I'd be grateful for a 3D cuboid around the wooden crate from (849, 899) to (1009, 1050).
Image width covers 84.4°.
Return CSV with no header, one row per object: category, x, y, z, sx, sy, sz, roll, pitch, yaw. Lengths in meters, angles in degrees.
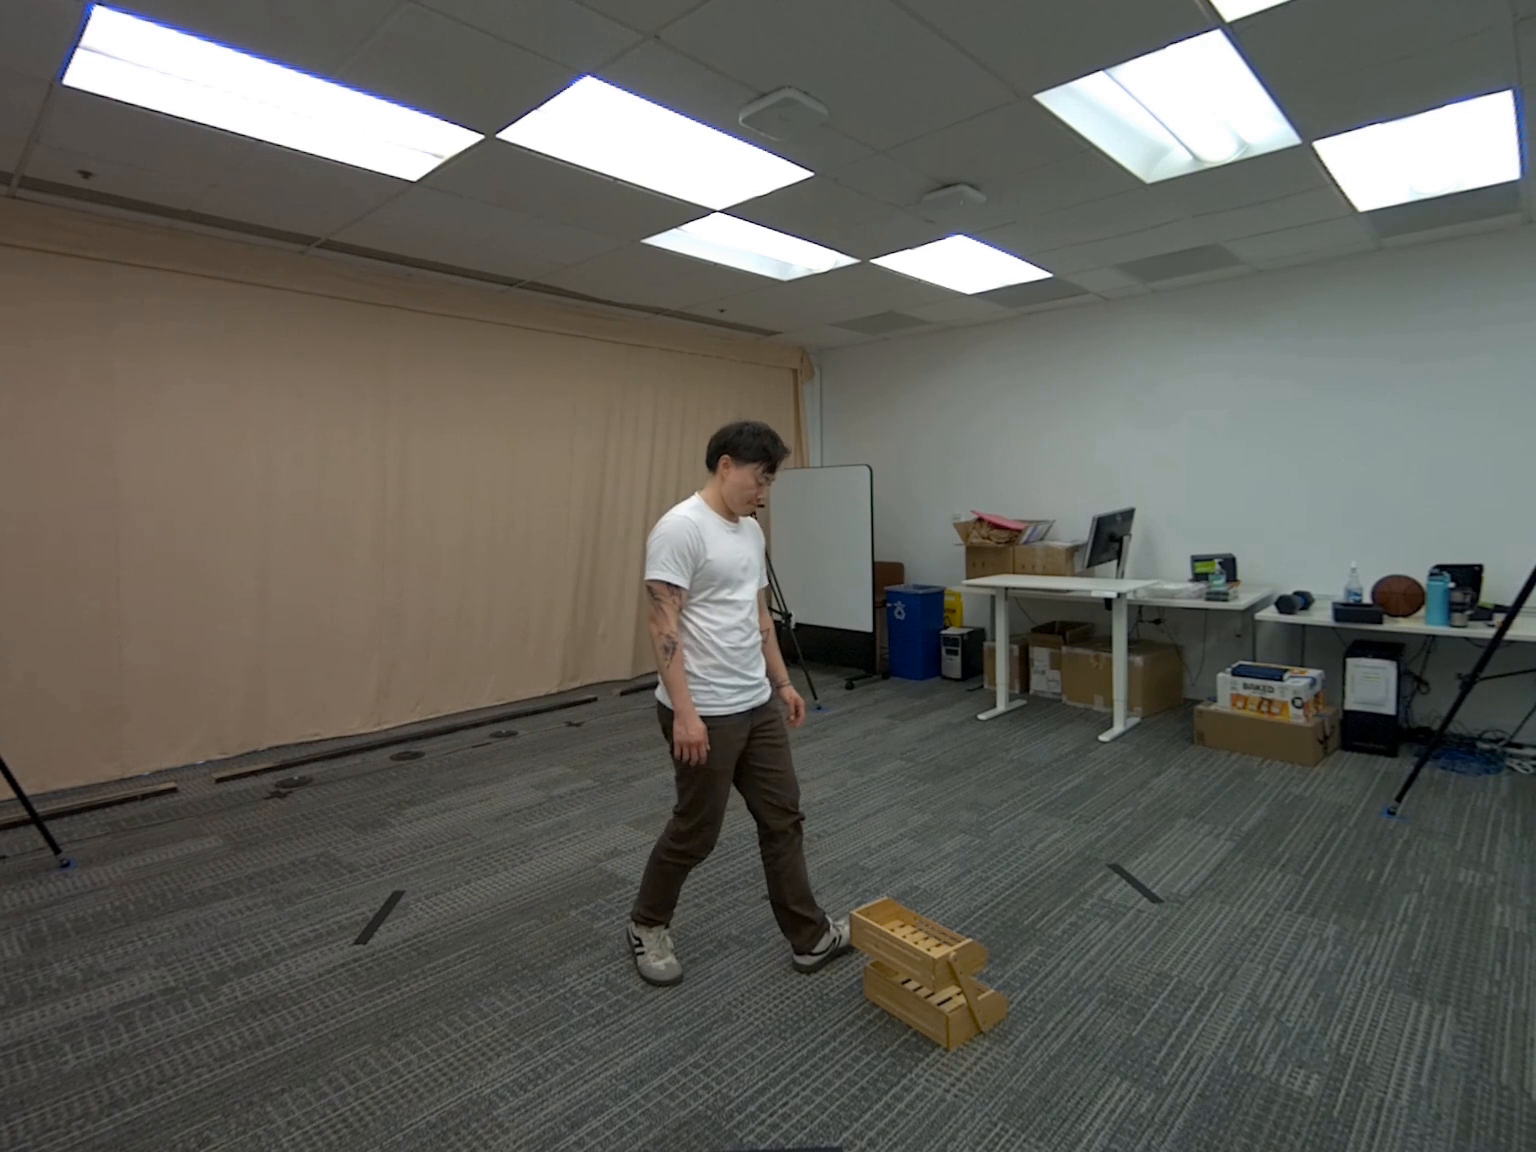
wooden crate,0.451,1.058,2.301,0.293,0.273,0.335,-5,5,-38
